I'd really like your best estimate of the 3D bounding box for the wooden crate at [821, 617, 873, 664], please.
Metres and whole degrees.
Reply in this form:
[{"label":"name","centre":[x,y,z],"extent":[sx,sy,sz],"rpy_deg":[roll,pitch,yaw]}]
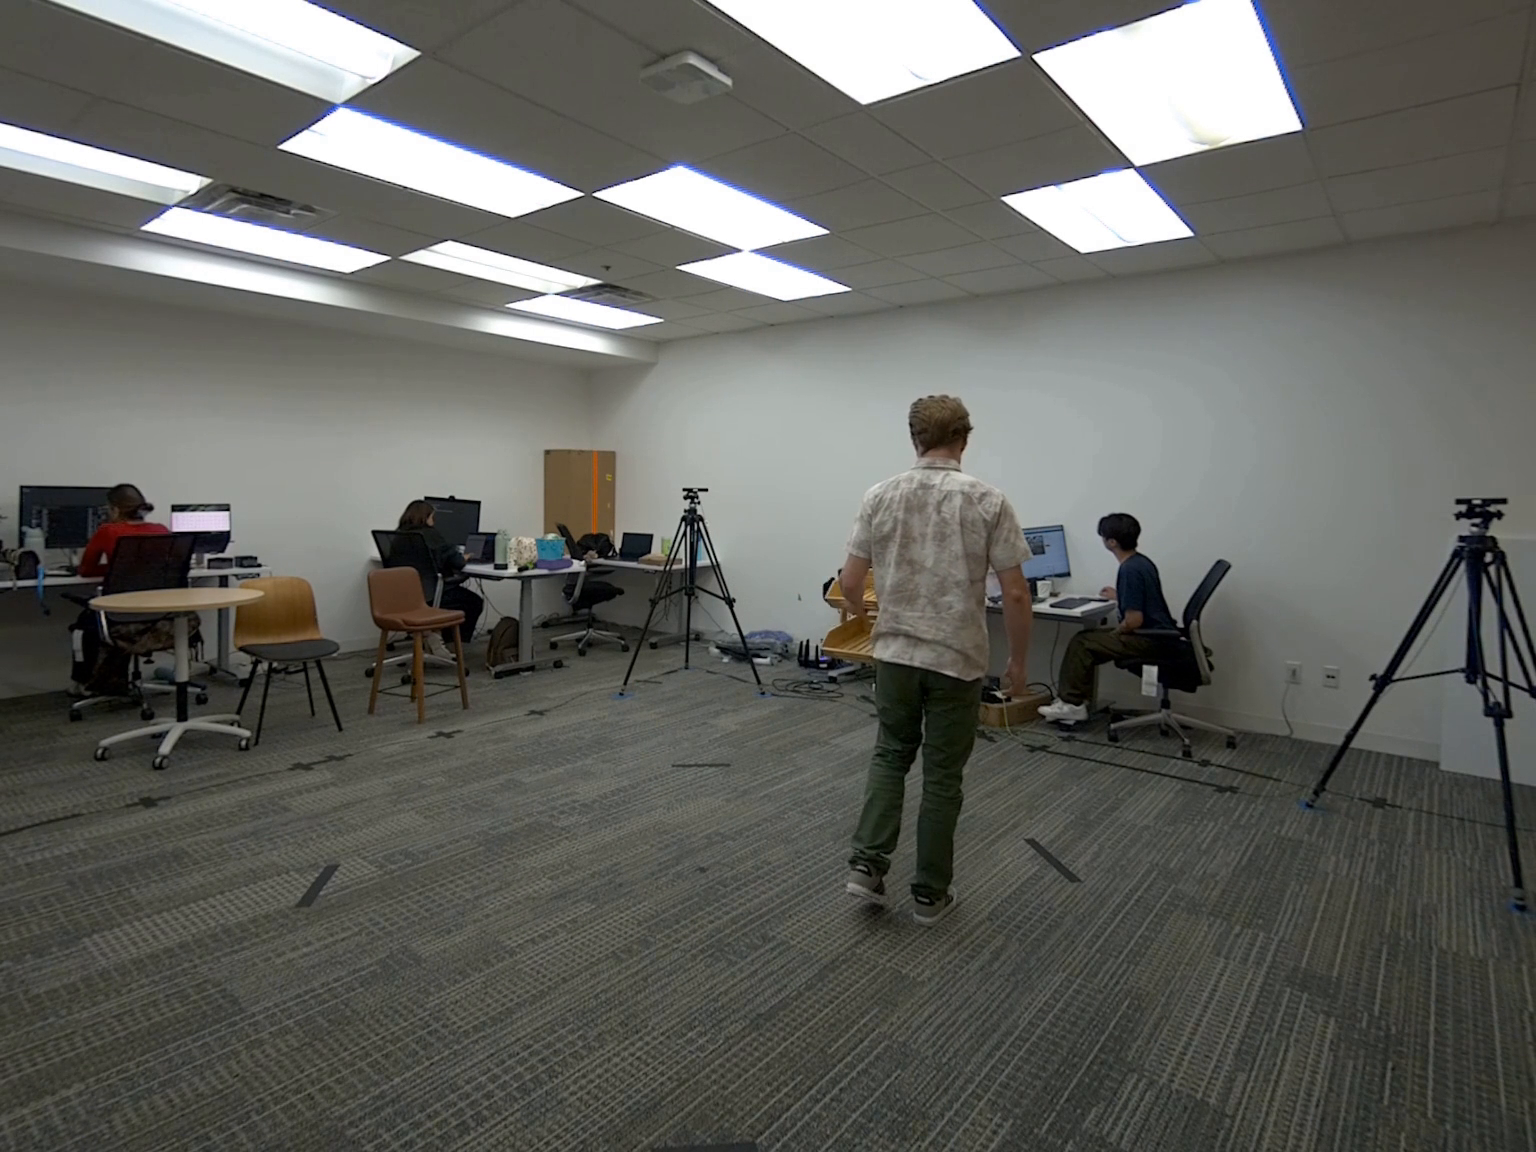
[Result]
[{"label":"wooden crate","centre":[0.348,0.137,3.181],"extent":[0.297,0.270,0.334],"rpy_deg":[-23,14,-36]}]
